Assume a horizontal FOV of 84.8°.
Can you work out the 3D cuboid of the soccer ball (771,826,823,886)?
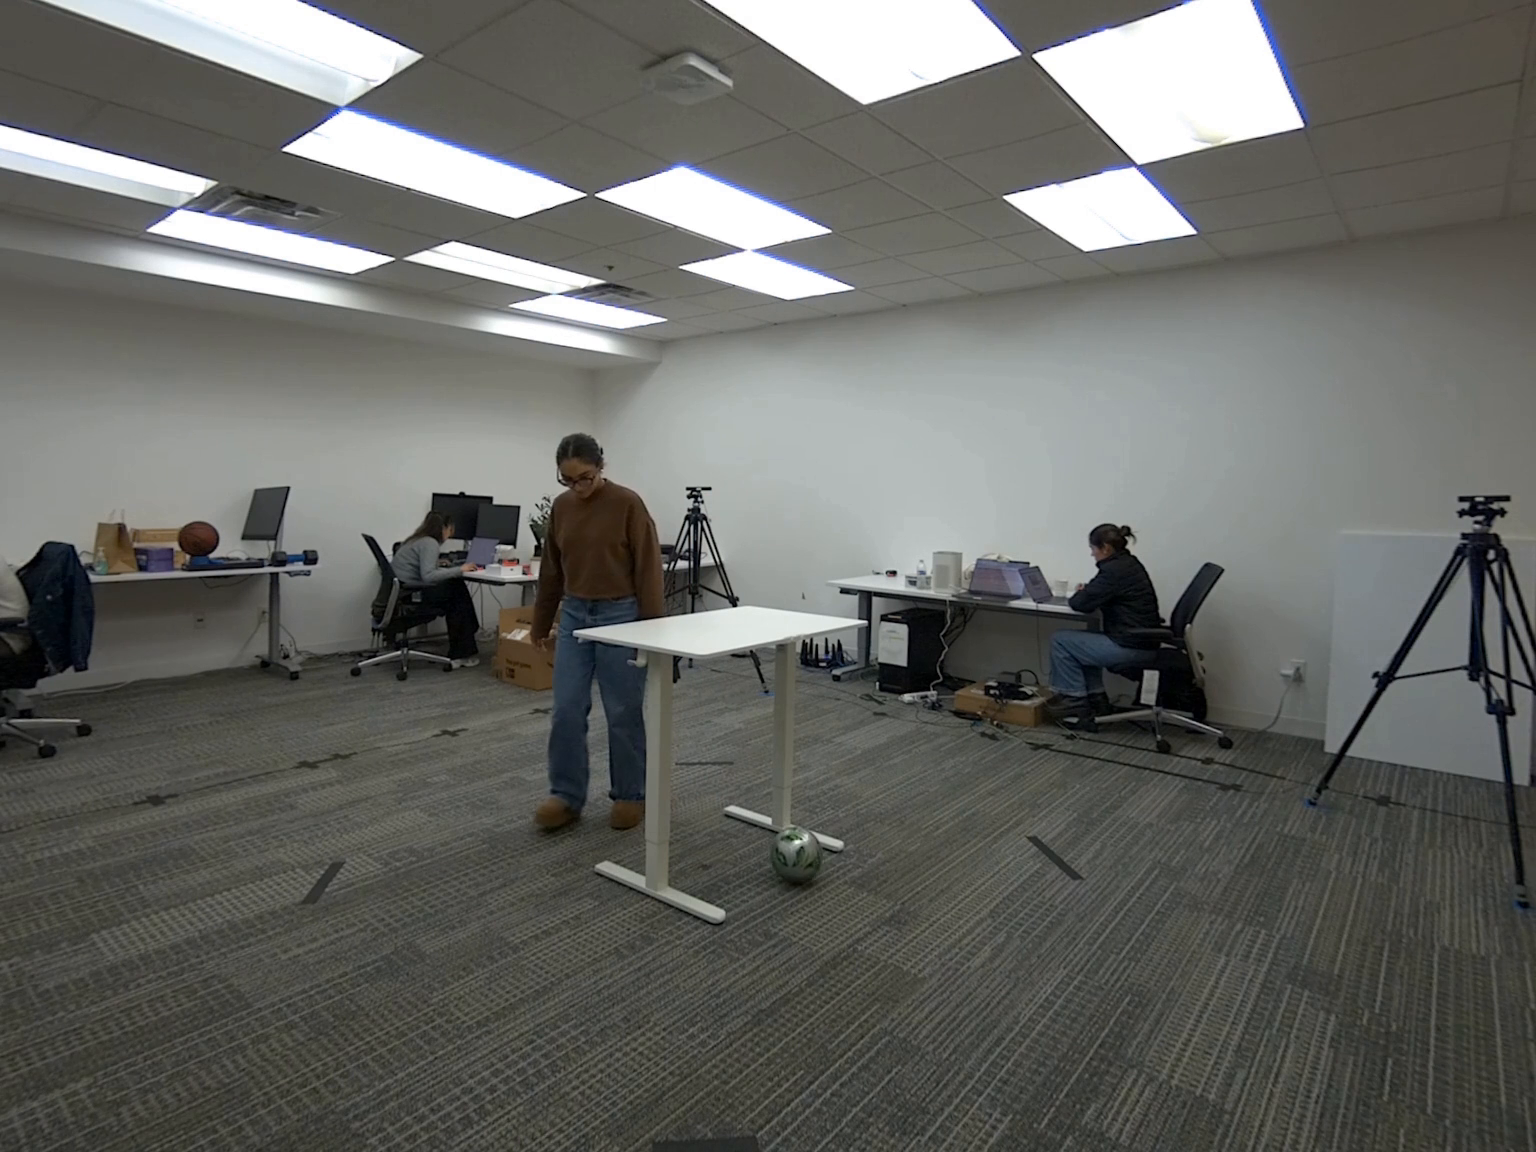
[{"bbox_3d":[0.095,0.987,3.021,0.187,0.187,0.188,1,4,-2],"label":"soccer ball"}]
